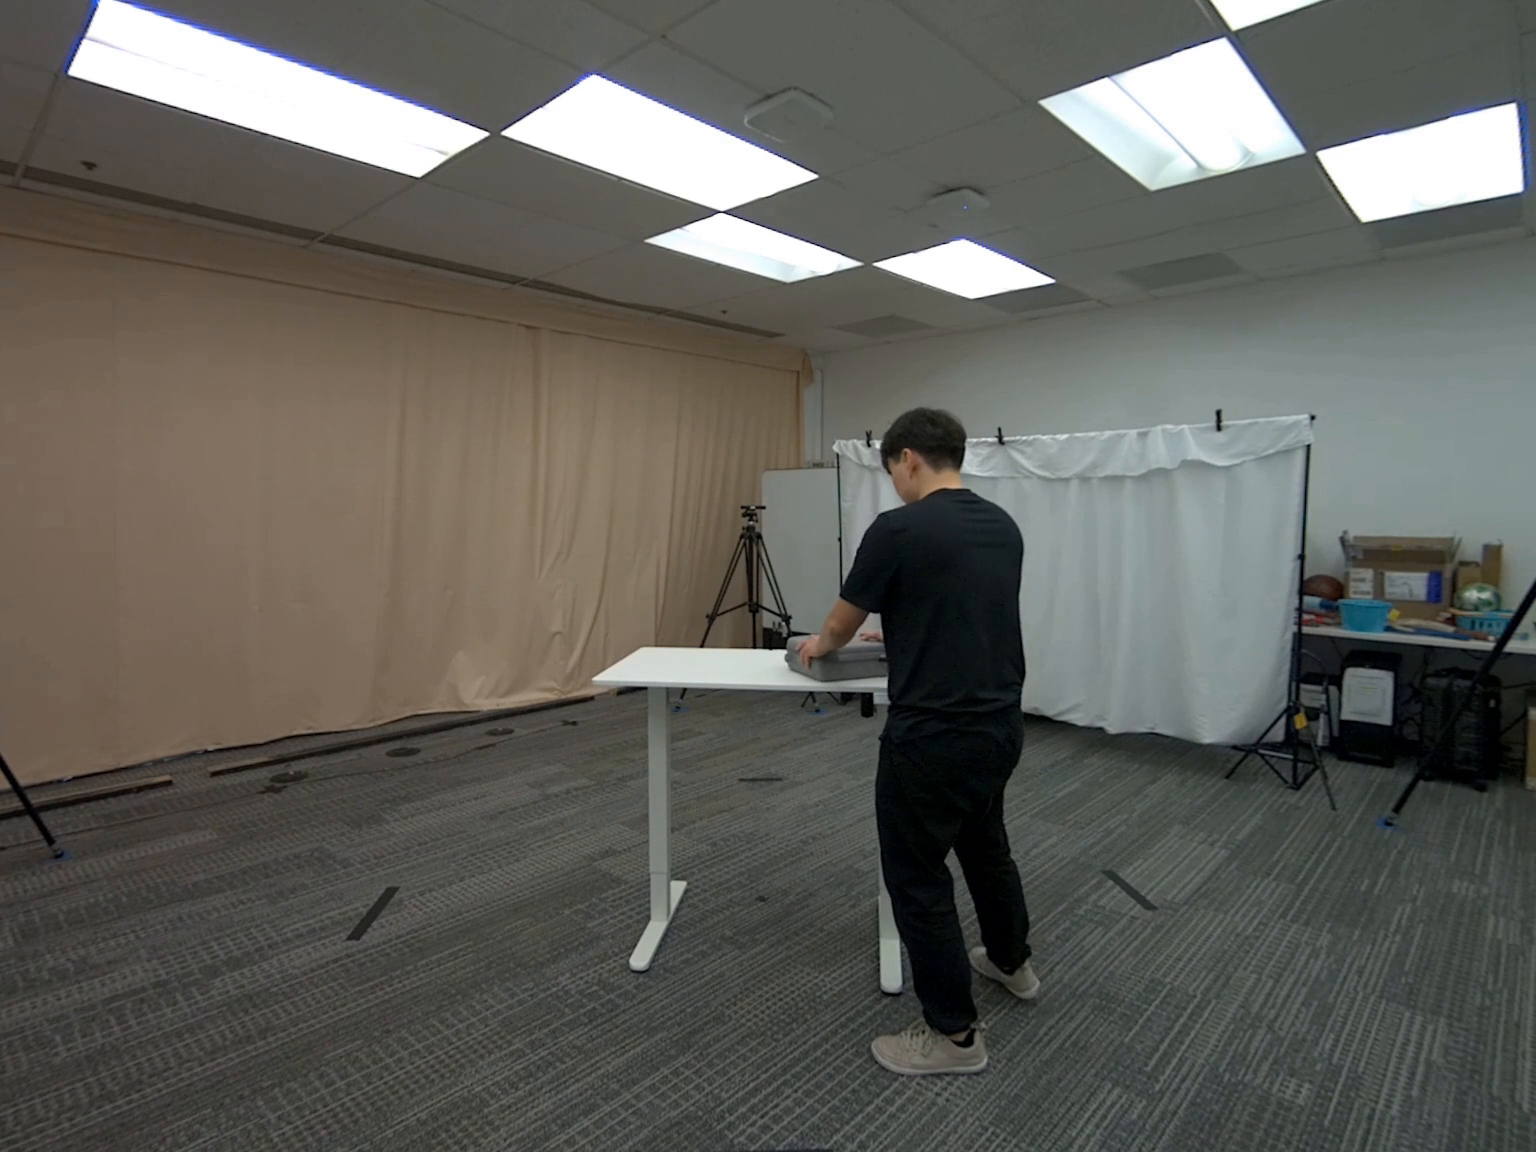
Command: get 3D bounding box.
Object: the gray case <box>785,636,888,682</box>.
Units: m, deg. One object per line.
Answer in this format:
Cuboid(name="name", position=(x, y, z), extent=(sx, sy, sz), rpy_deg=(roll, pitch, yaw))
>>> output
Cuboid(name="gray case", position=(0.208, 0.244, 2.569), extent=(0.253, 0.104, 0.266), rpy_deg=(-4, 6, -17))
